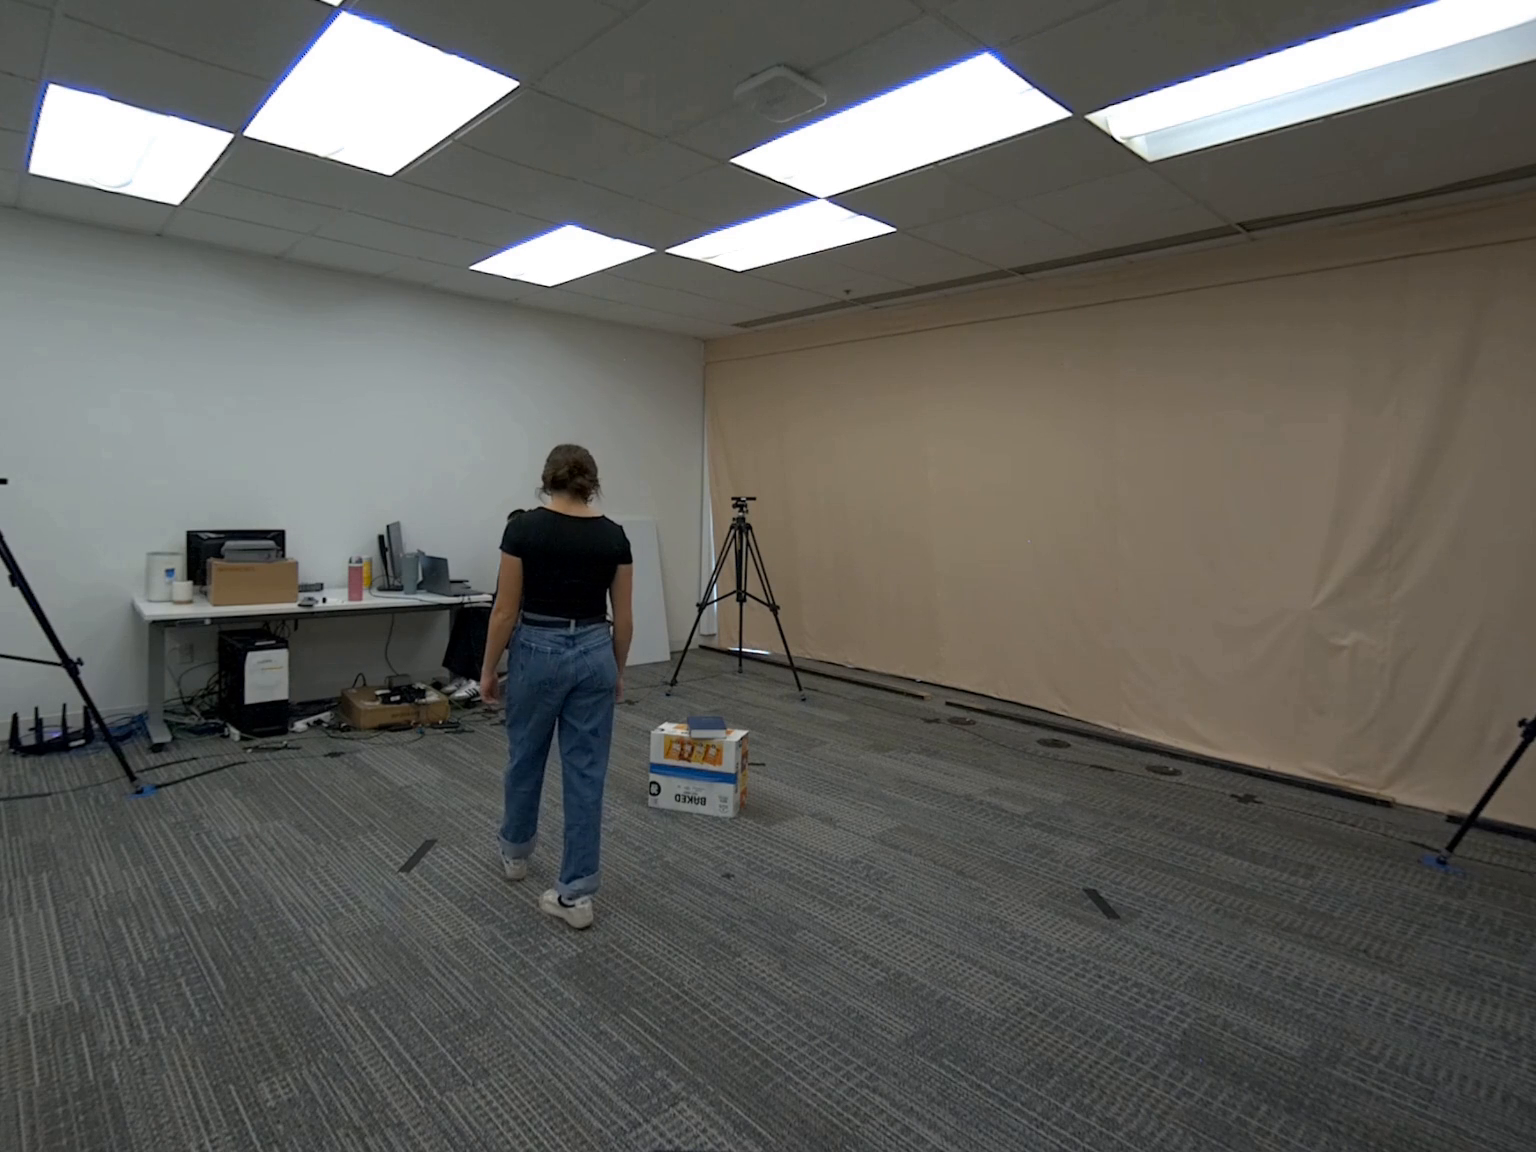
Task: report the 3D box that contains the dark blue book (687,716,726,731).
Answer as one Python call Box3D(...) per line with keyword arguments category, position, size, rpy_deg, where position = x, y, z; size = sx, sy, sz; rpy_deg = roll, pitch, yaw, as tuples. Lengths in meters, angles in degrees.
Box3D(category="dark blue book", position=(-0.286, 0.681, 3.816), size=(0.162, 0.045, 0.247), rpy_deg=(1, 5, -8))
